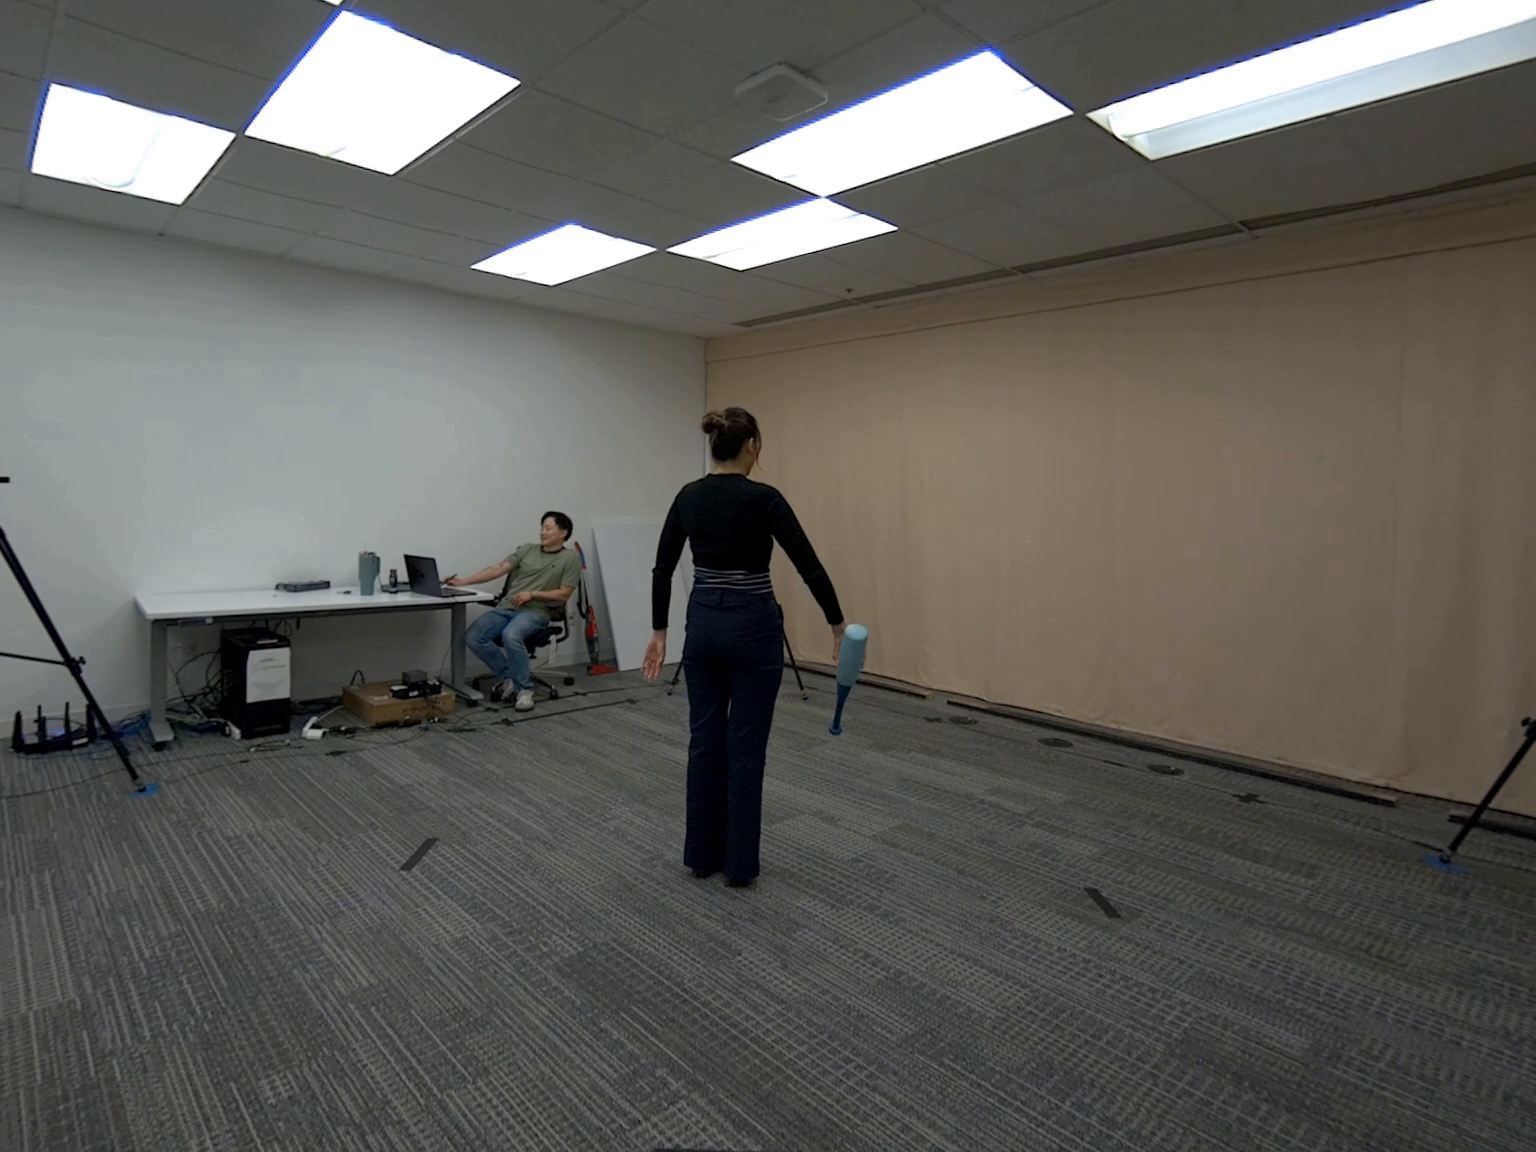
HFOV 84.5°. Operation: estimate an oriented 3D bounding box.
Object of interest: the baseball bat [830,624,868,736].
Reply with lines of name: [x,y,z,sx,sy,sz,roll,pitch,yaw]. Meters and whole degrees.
baseball bat: [0.274,0.387,3.099,0.089,0.532,0.091,3,39,-4]
